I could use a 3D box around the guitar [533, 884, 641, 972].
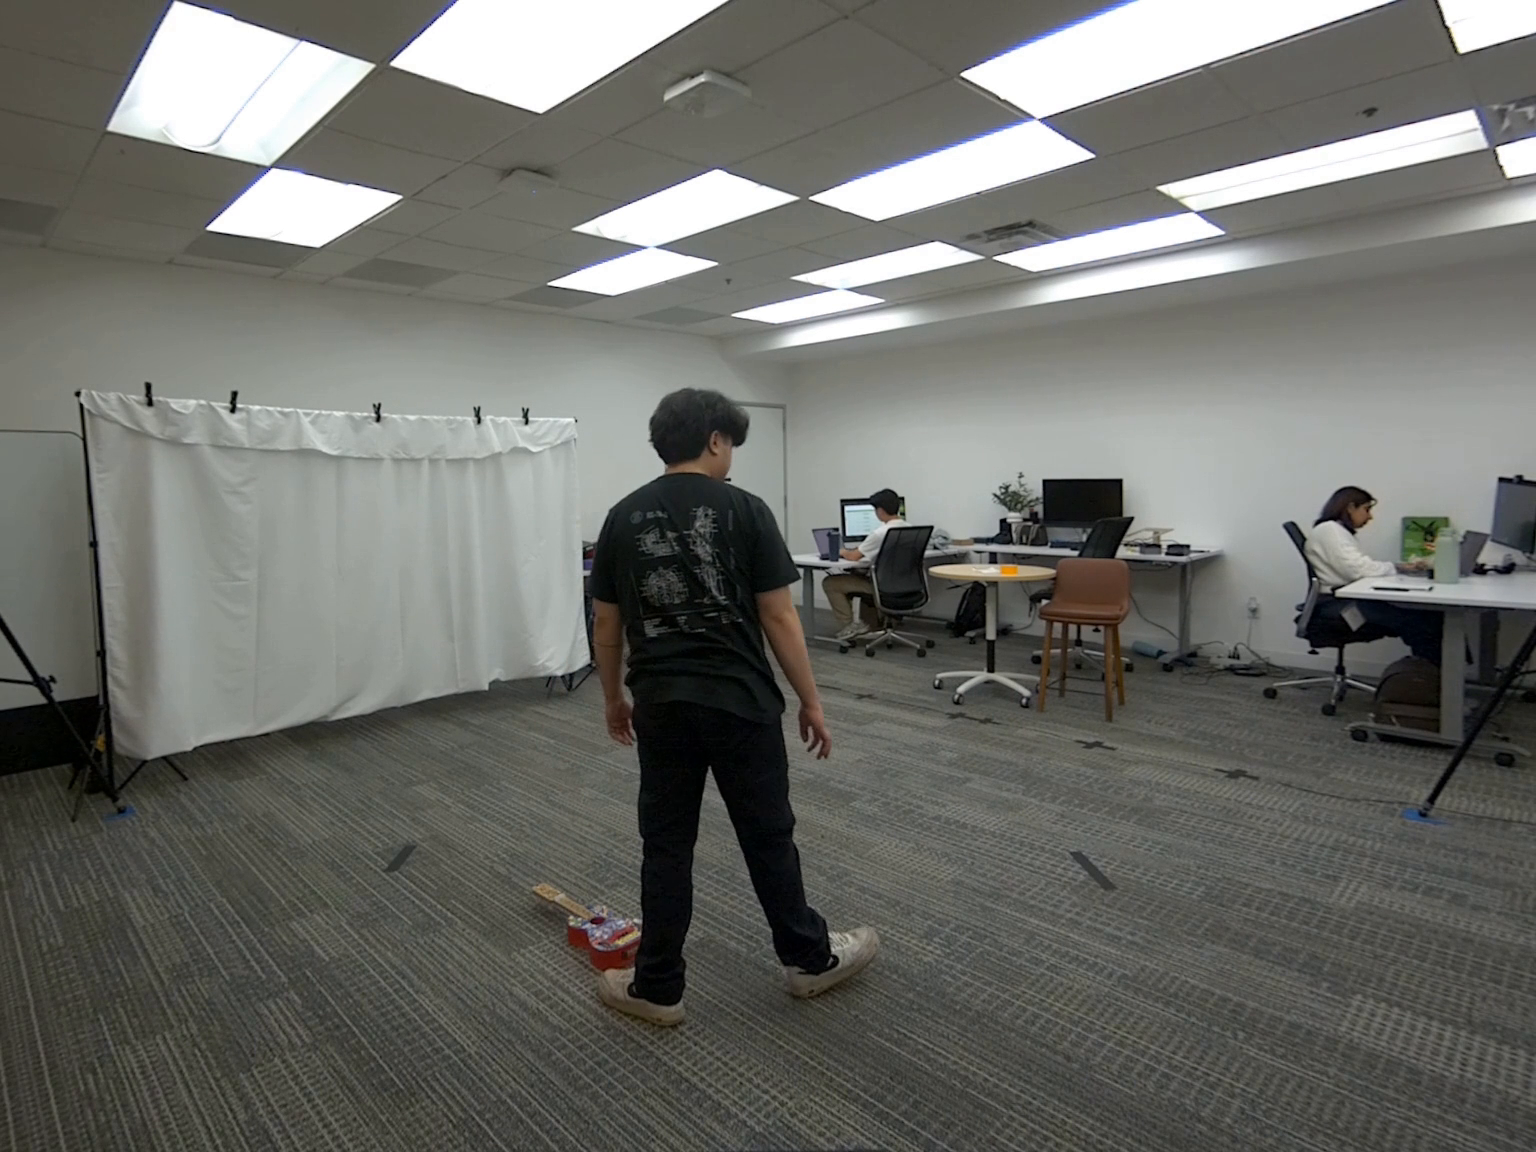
[{"bbox_3d":[-0.545,1.068,2.670,0.188,0.070,0.514,-7,10,-39],"label":"guitar"}]
